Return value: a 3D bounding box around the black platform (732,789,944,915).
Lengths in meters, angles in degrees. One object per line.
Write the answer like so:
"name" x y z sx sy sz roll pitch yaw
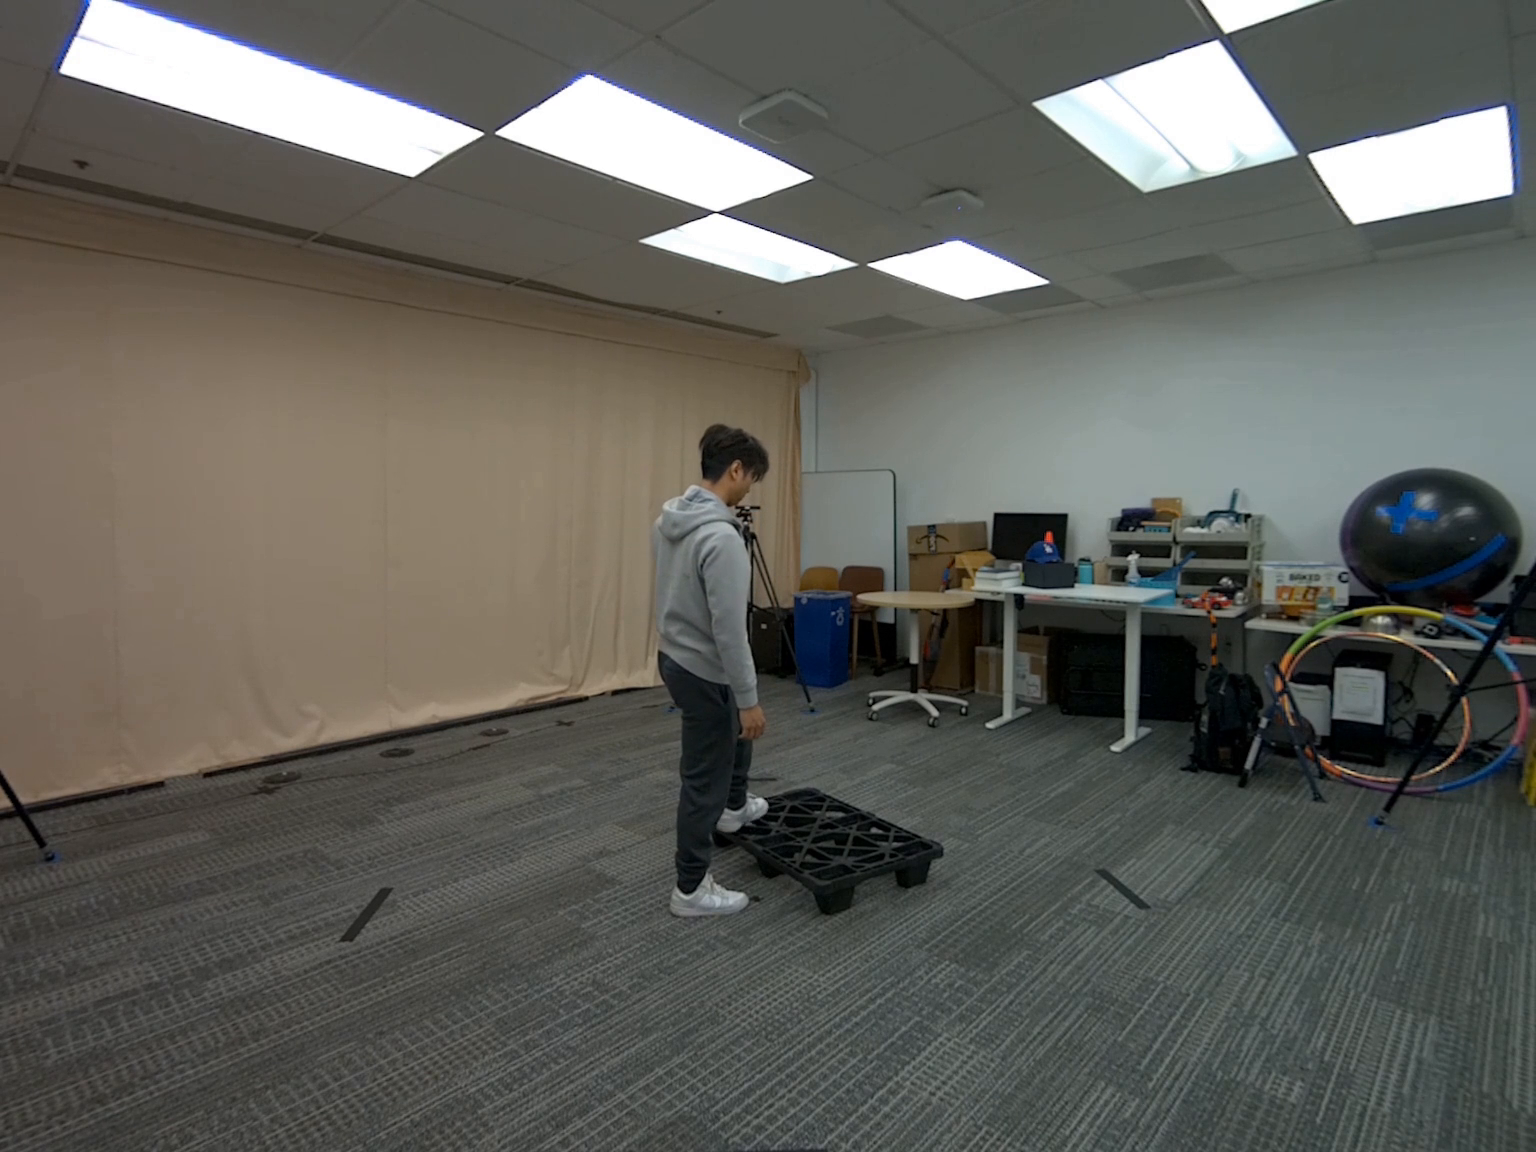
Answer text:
"black platform" 0.182 1.051 3.278 0.588 0.143 0.831 -4 6 -34
